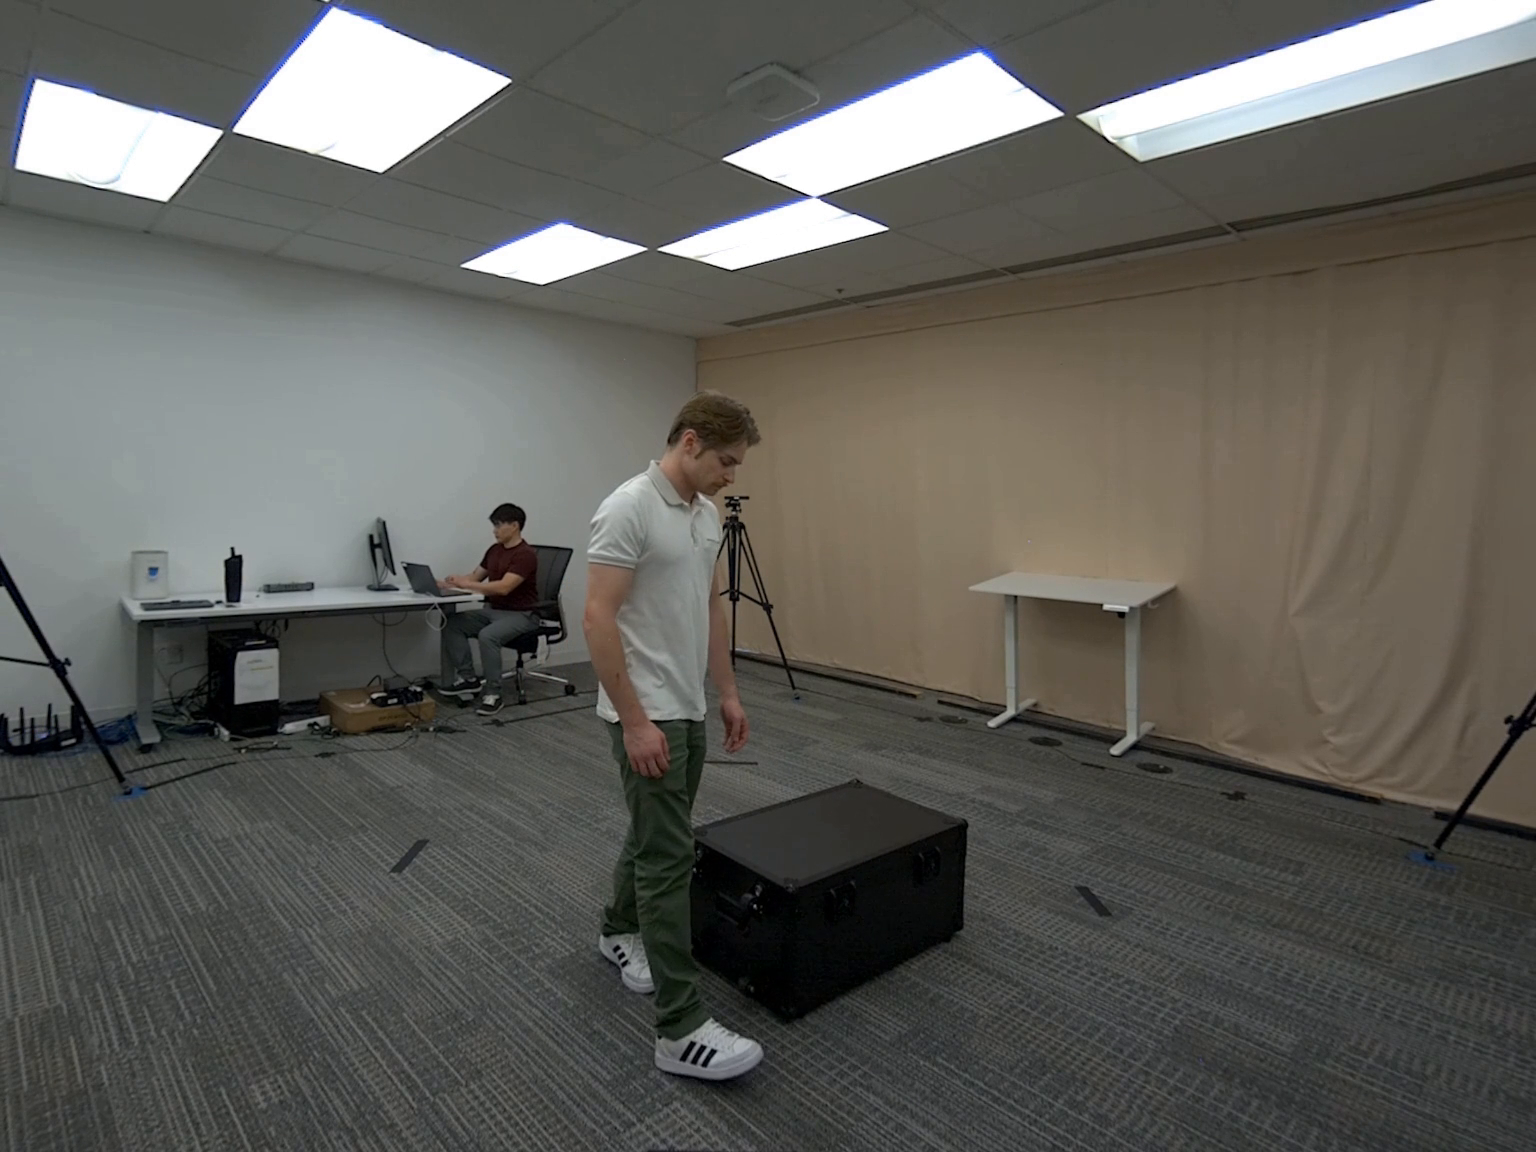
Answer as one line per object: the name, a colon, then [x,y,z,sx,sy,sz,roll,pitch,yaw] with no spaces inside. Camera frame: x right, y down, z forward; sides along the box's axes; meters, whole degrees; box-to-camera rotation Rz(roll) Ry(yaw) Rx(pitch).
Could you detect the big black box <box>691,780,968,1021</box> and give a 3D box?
big black box: [0.155,0.966,2.612,0.842,0.395,0.534,-3,6,-41]
